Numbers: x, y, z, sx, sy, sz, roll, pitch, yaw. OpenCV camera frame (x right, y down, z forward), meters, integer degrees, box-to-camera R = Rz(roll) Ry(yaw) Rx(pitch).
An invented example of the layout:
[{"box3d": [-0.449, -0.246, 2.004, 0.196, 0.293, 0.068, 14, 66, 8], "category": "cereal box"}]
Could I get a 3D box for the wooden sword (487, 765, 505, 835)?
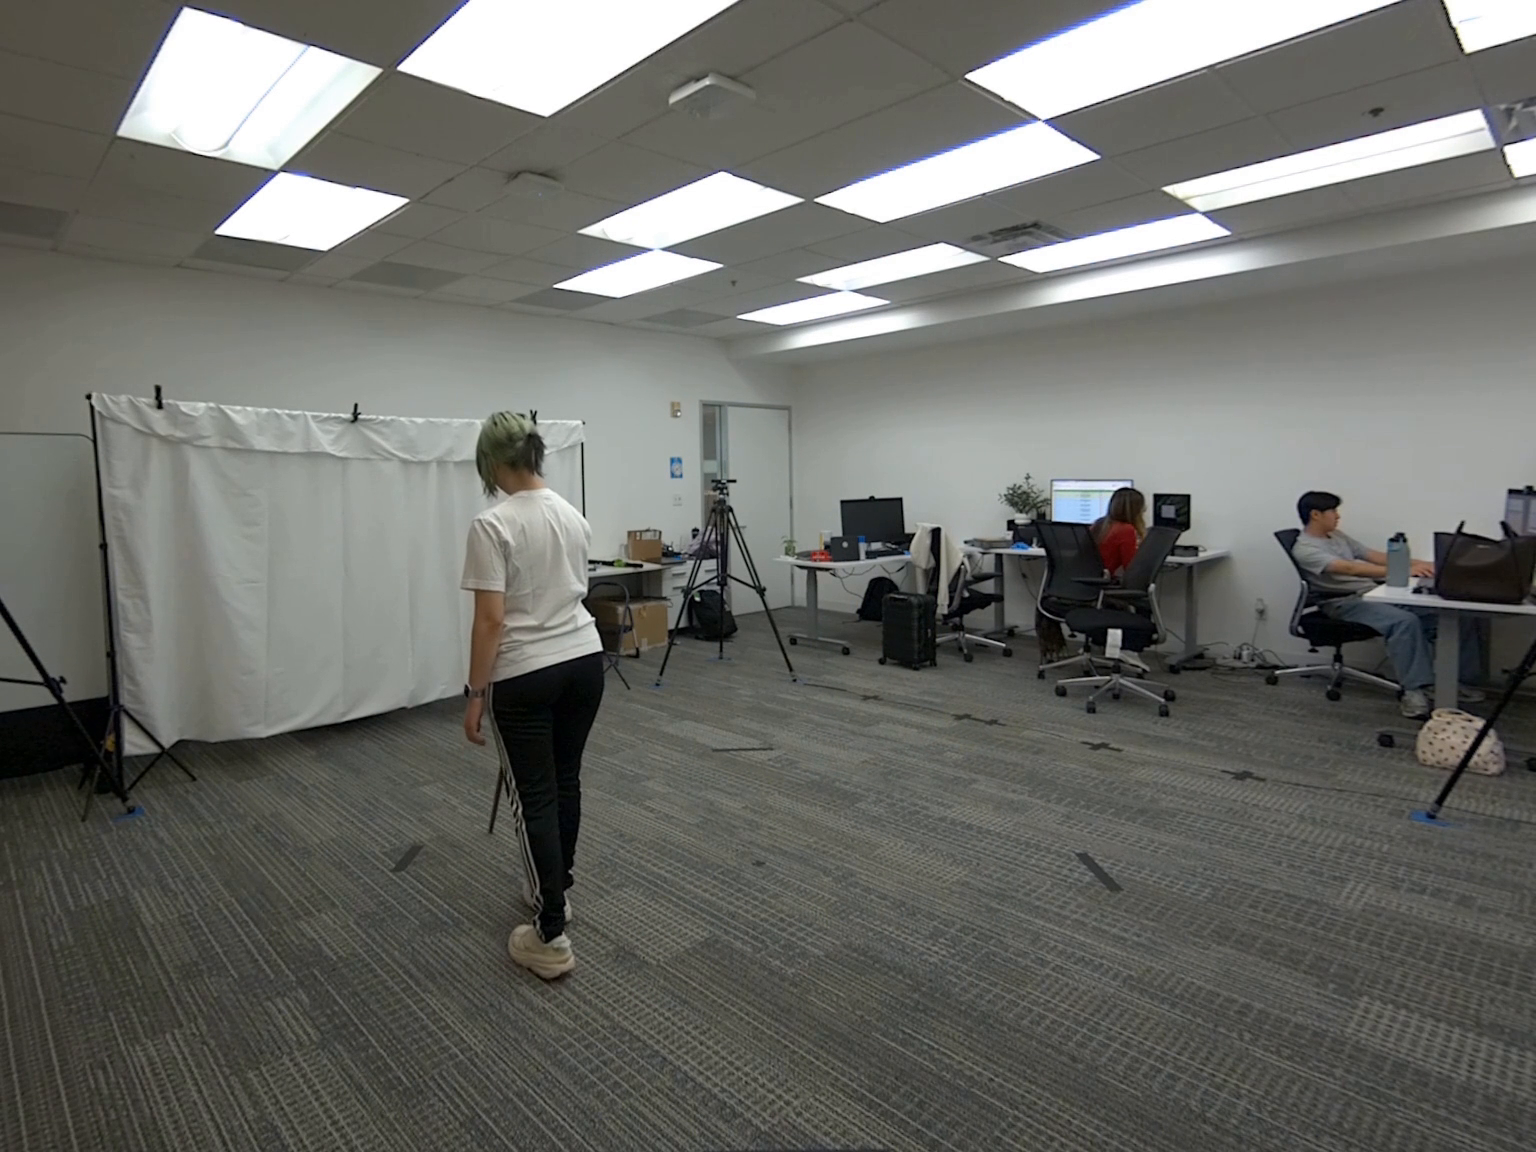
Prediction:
[{"box3d": [-0.981, 0.710, 3.130, 0.023, 0.053, 1.011, -8, -38, -31], "category": "wooden sword"}]
